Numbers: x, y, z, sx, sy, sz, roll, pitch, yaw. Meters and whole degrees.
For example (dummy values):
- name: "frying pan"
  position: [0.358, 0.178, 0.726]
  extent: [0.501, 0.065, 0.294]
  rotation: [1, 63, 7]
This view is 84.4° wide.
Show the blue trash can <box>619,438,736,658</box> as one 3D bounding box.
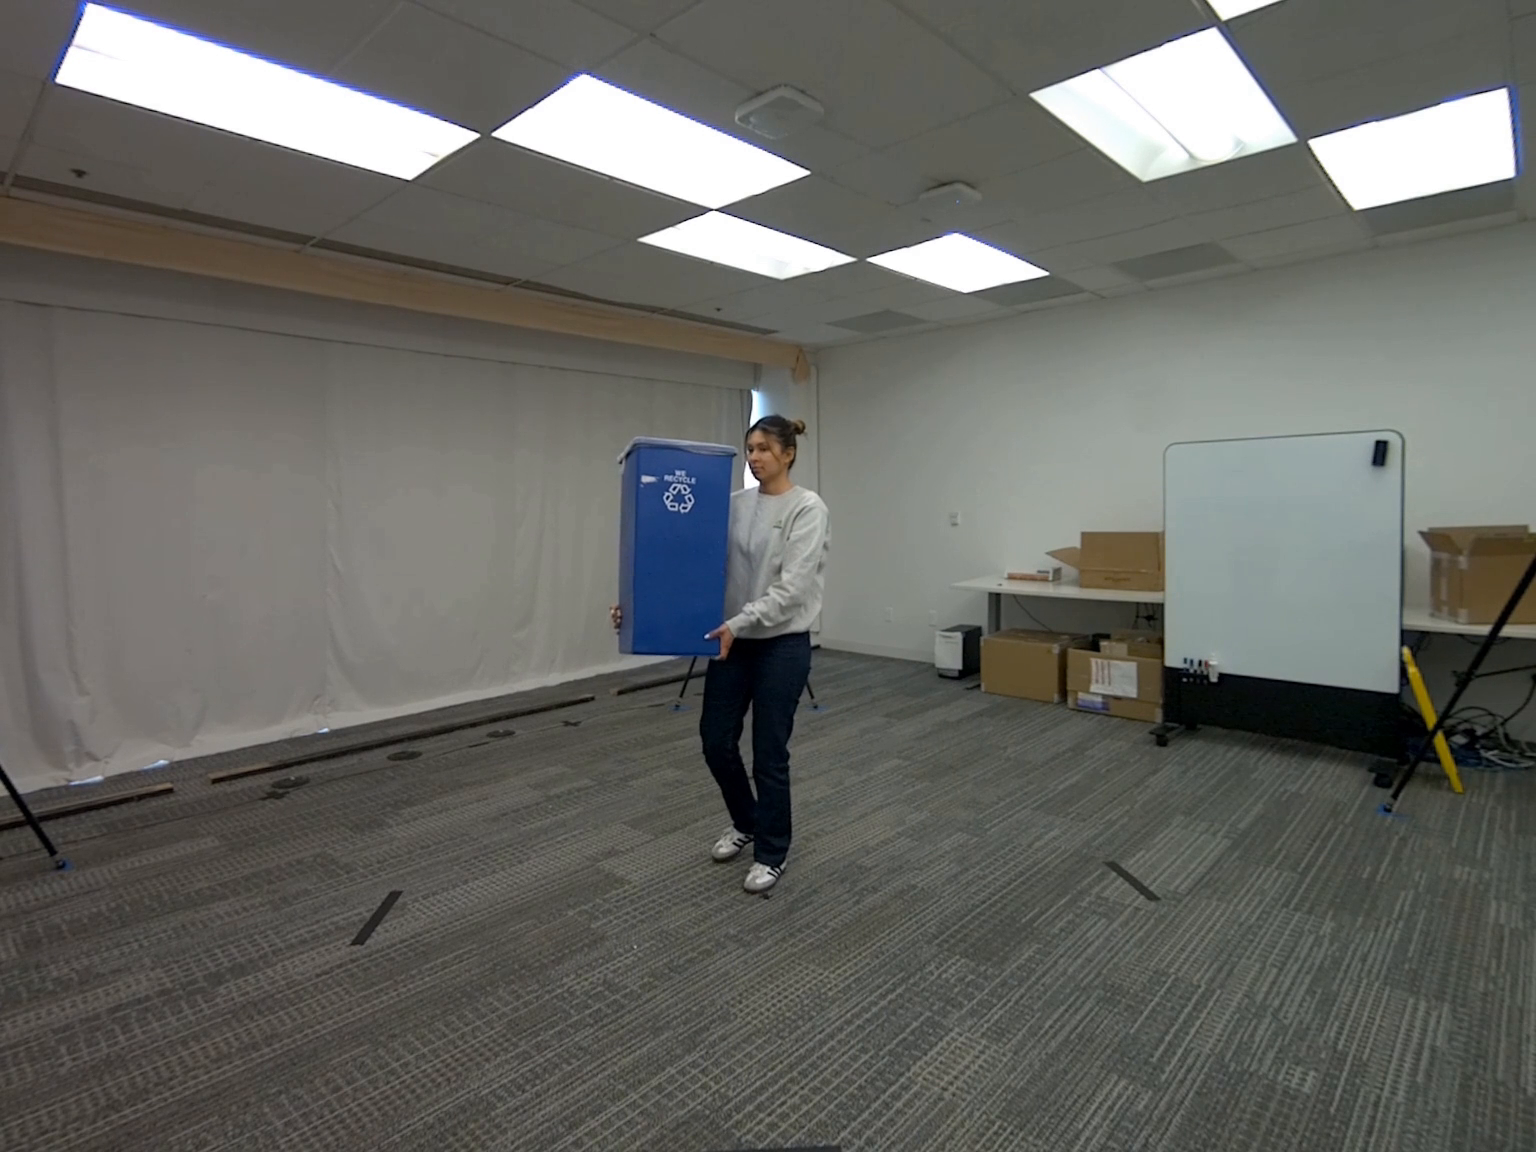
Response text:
- name: "blue trash can"
  position: [-0.329, -0.087, 2.954]
  extent: [0.367, 0.715, 0.384]
  rotation: [3, -5, -18]
